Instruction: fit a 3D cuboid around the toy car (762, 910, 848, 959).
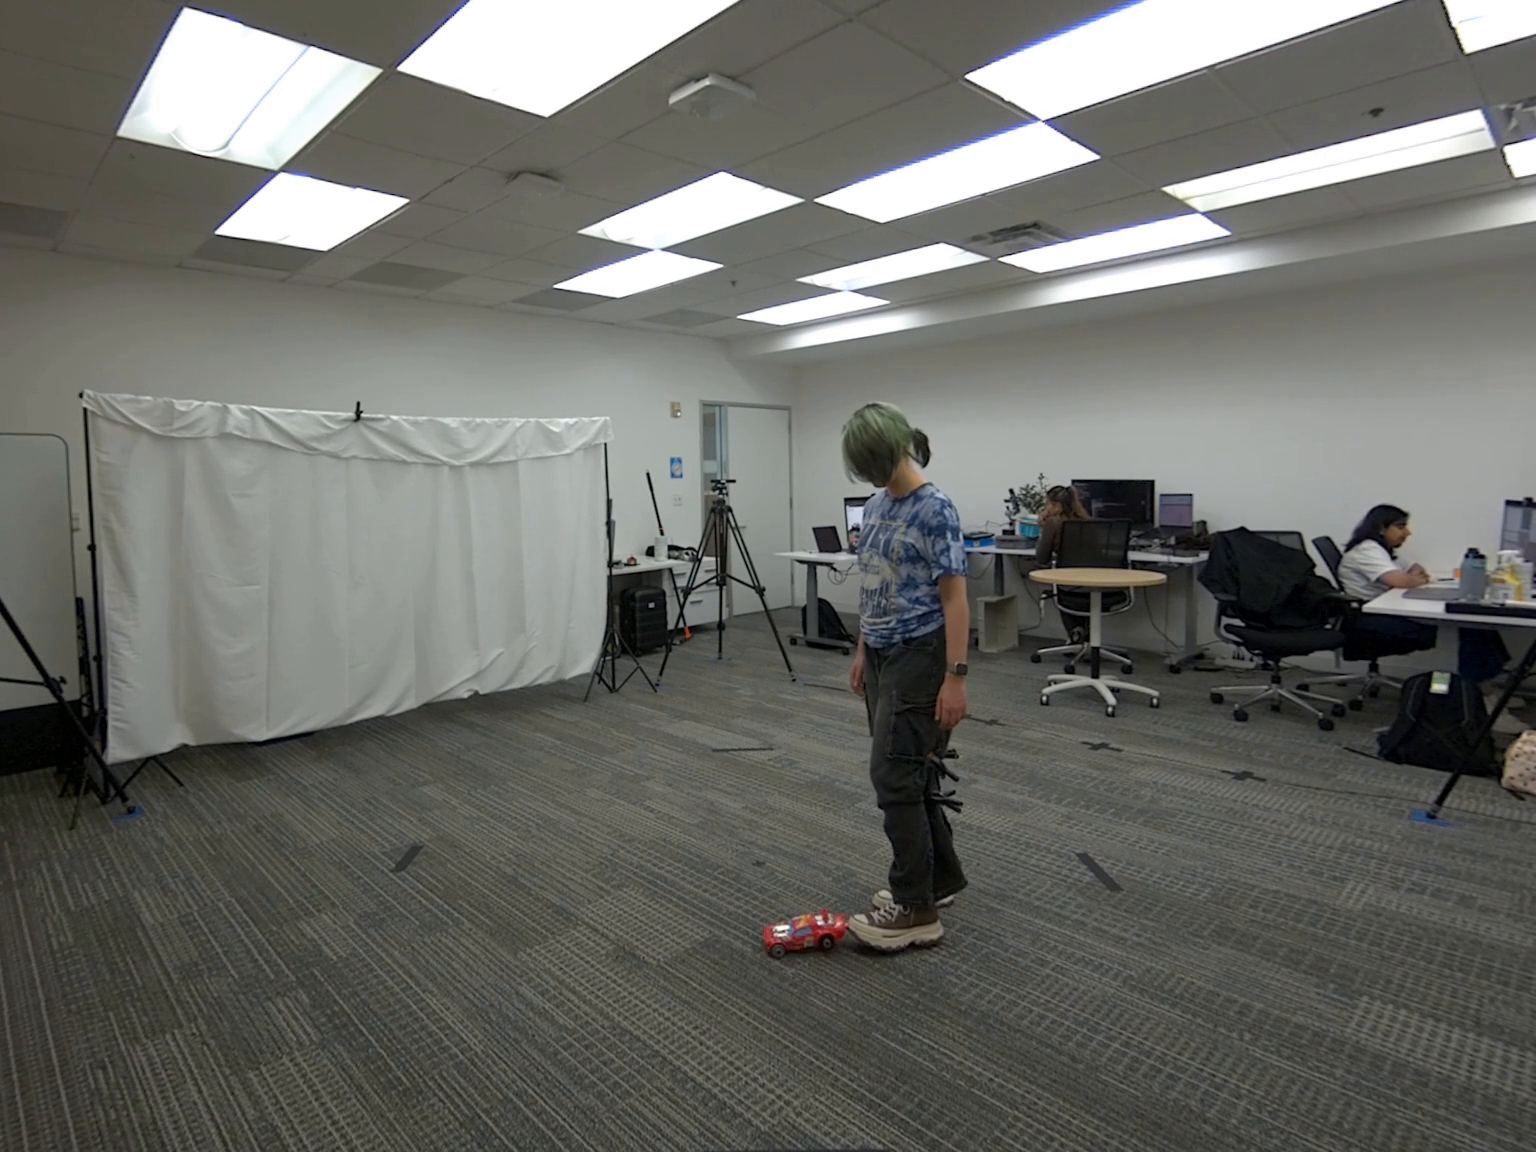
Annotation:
[{"bbox_3d":[0.123,1.070,2.543,0.254,0.083,0.131,-19,5,-1],"label":"toy car"}]
